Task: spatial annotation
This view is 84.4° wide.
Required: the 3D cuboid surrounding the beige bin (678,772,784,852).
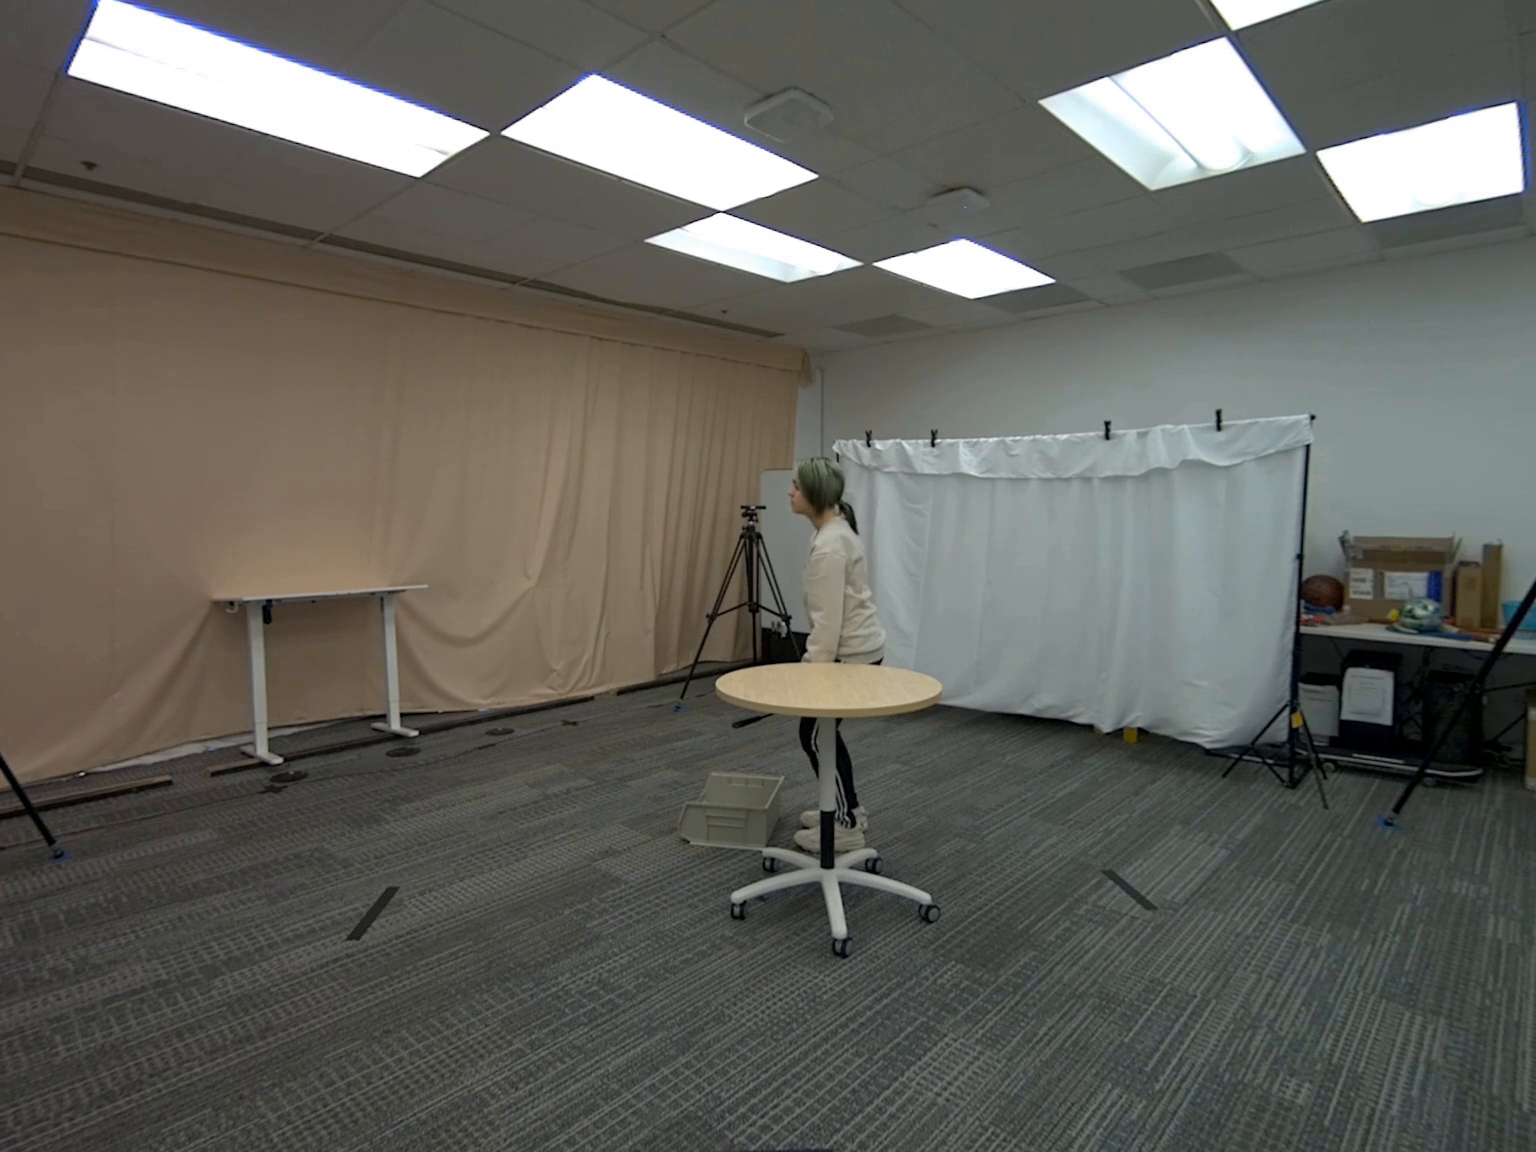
[{"bbox_3d":[-0.149,1.003,3.631,0.383,0.188,0.417,2,4,12],"label":"beige bin"}]
